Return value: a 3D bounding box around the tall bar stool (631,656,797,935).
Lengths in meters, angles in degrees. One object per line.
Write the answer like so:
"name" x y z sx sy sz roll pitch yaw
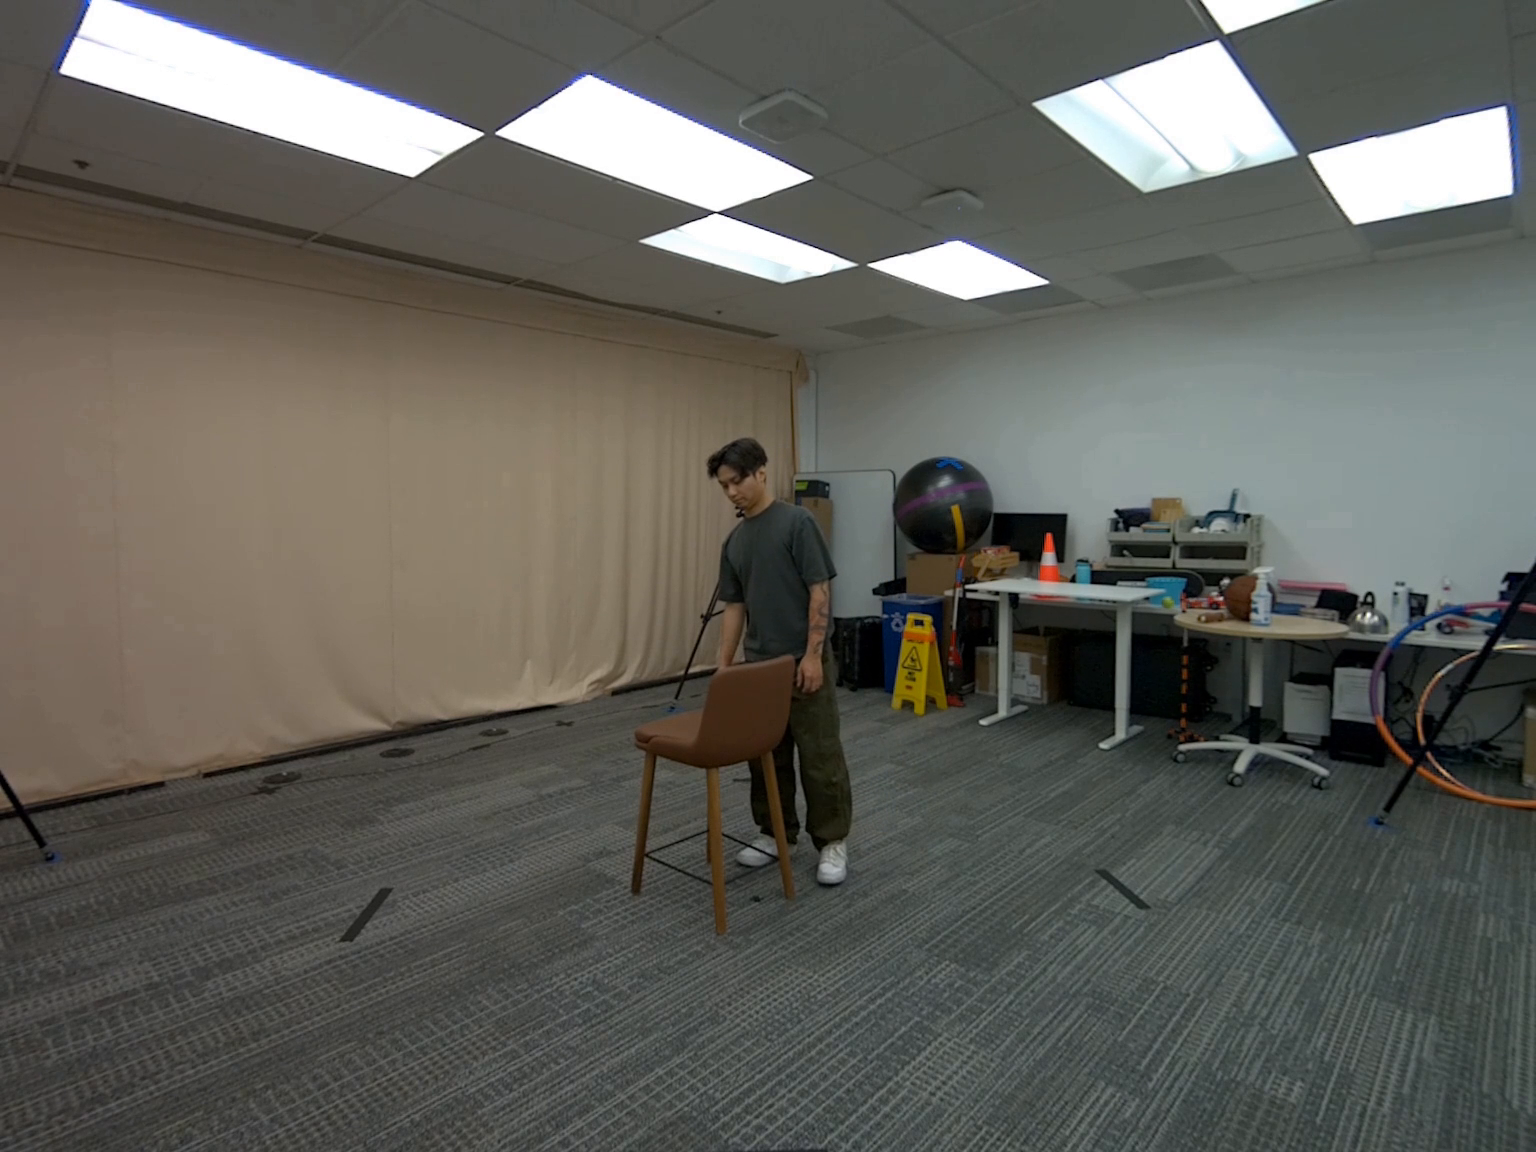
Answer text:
"tall bar stool" -0.196 0.710 2.987 0.483 0.887 0.442 5 6 43
